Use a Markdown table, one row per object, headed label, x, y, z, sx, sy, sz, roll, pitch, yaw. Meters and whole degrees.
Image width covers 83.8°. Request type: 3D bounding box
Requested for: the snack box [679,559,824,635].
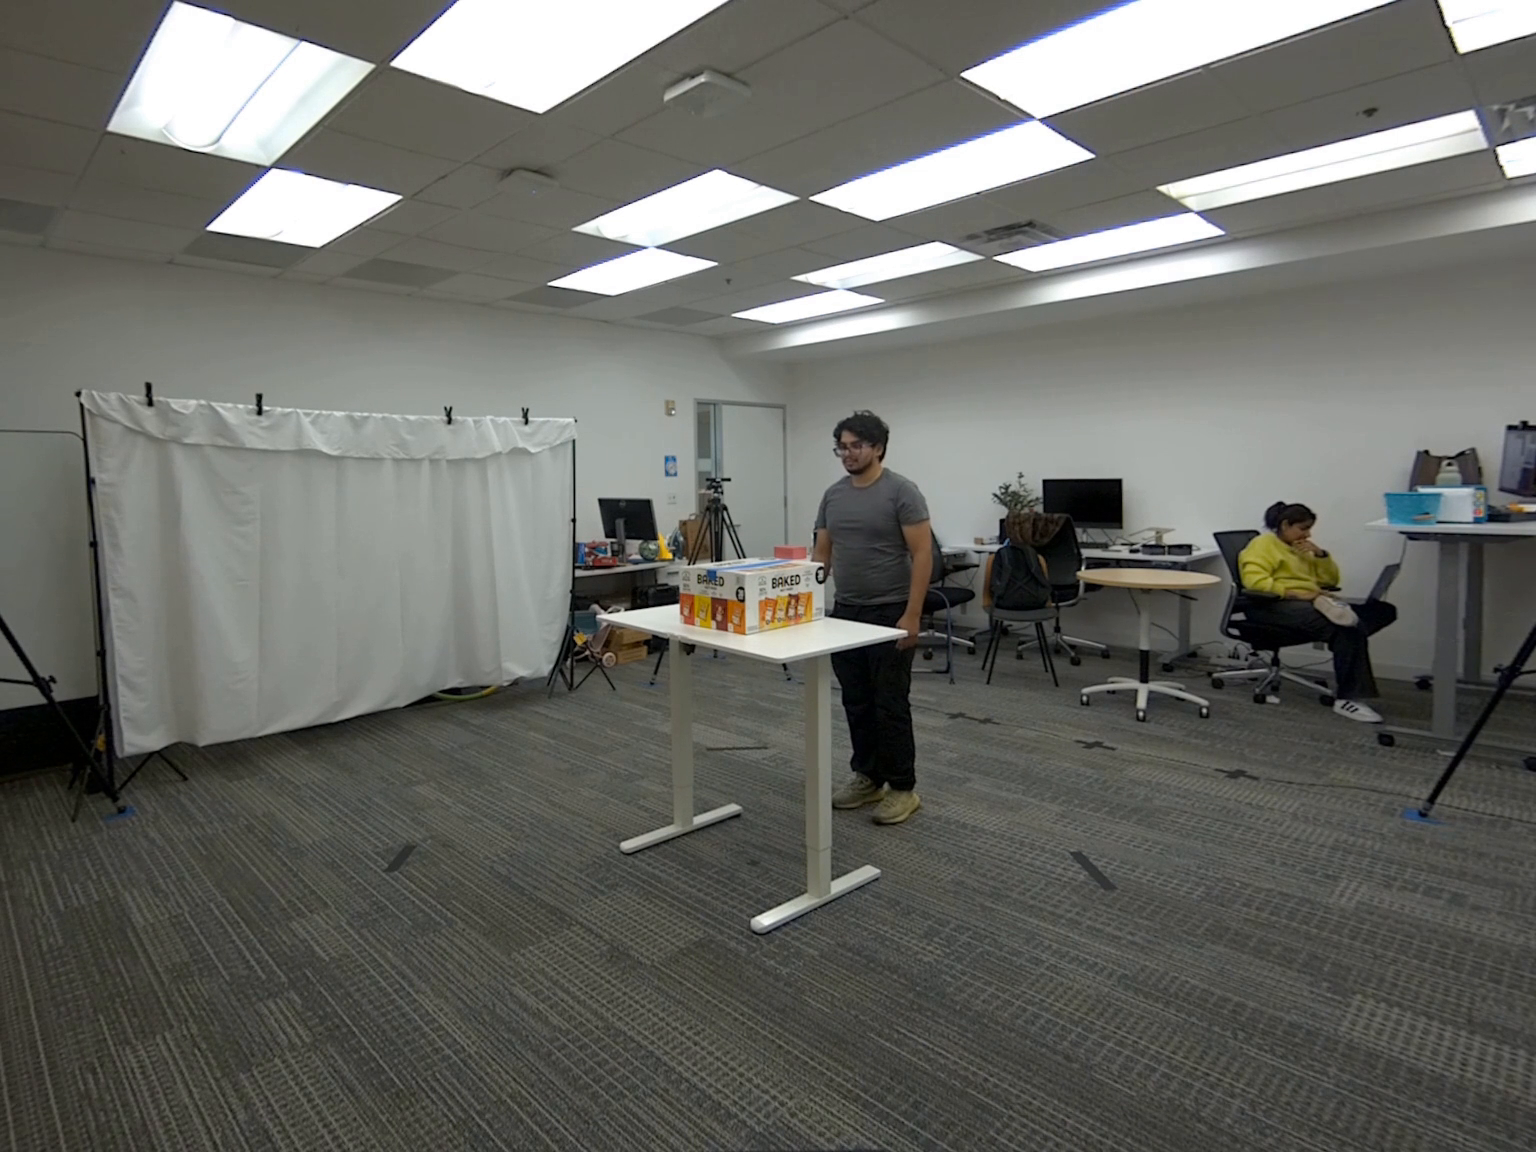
| label | x | y | z | sx | sy | sz | roll | pitch | yaw |
| --- | --- | --- | --- | --- | --- | --- | --- | --- | --- |
| snack box | -0.054 | 0.061 | 3.065 | 0.395 | 0.204 | 0.351 | -7 | 9 | -45 |
